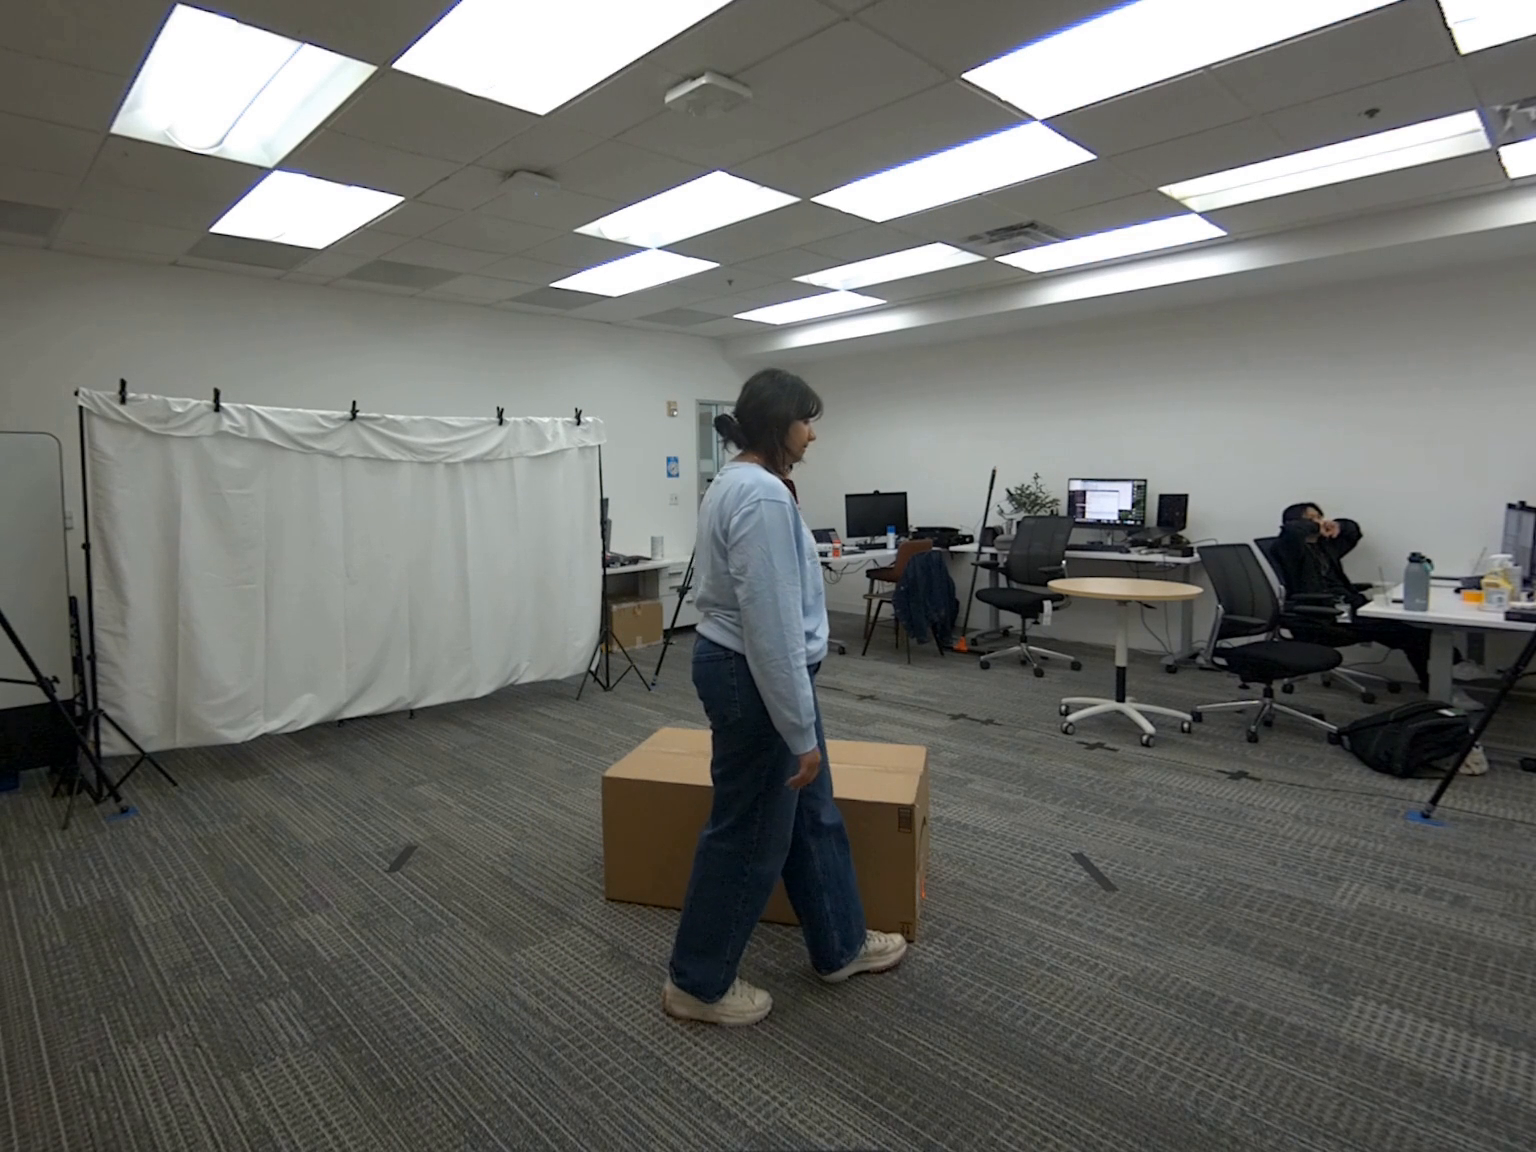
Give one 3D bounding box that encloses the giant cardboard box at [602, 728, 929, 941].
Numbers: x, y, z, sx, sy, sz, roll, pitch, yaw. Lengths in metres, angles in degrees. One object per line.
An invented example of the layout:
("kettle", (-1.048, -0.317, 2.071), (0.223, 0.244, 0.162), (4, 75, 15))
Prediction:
("giant cardboard box", (0.014, 0.842, 2.968), (1.043, 0.424, 0.571), (1, 6, 17))
